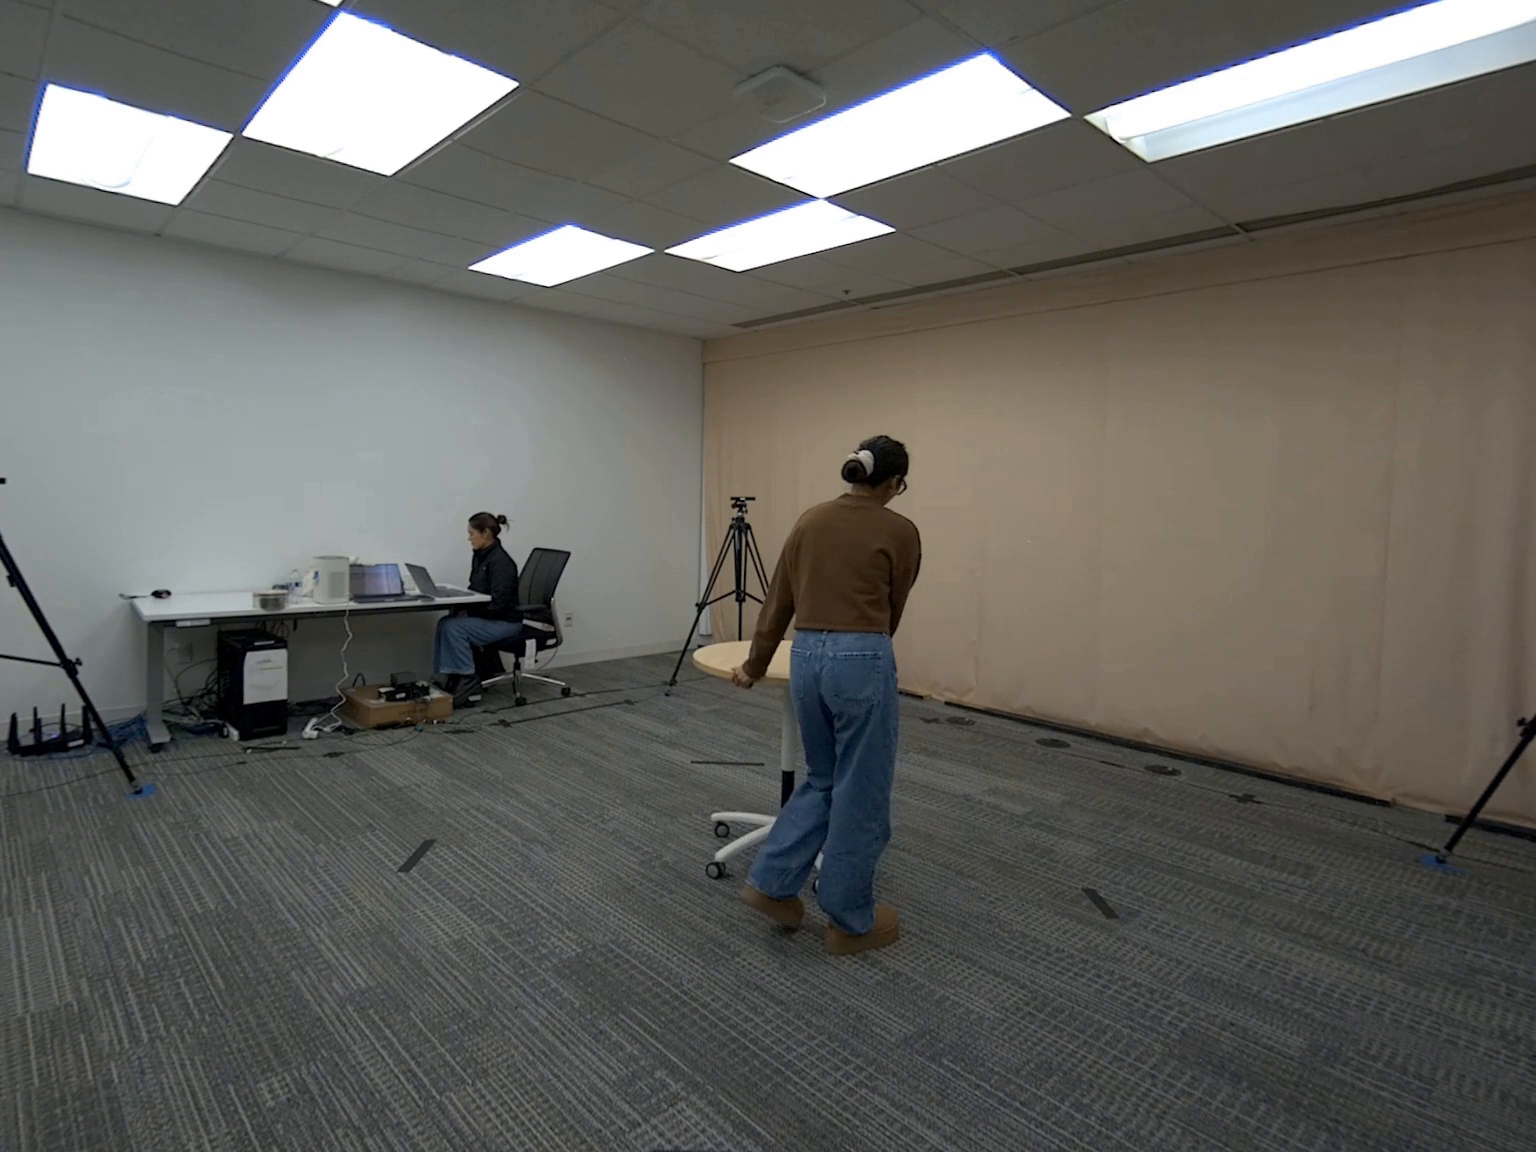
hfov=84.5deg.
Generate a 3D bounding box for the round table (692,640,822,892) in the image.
[{"bbox_3d":[0.090,0.706,3.271,0.784,0.784,0.788,1,4,-1],"label":"round table"}]
